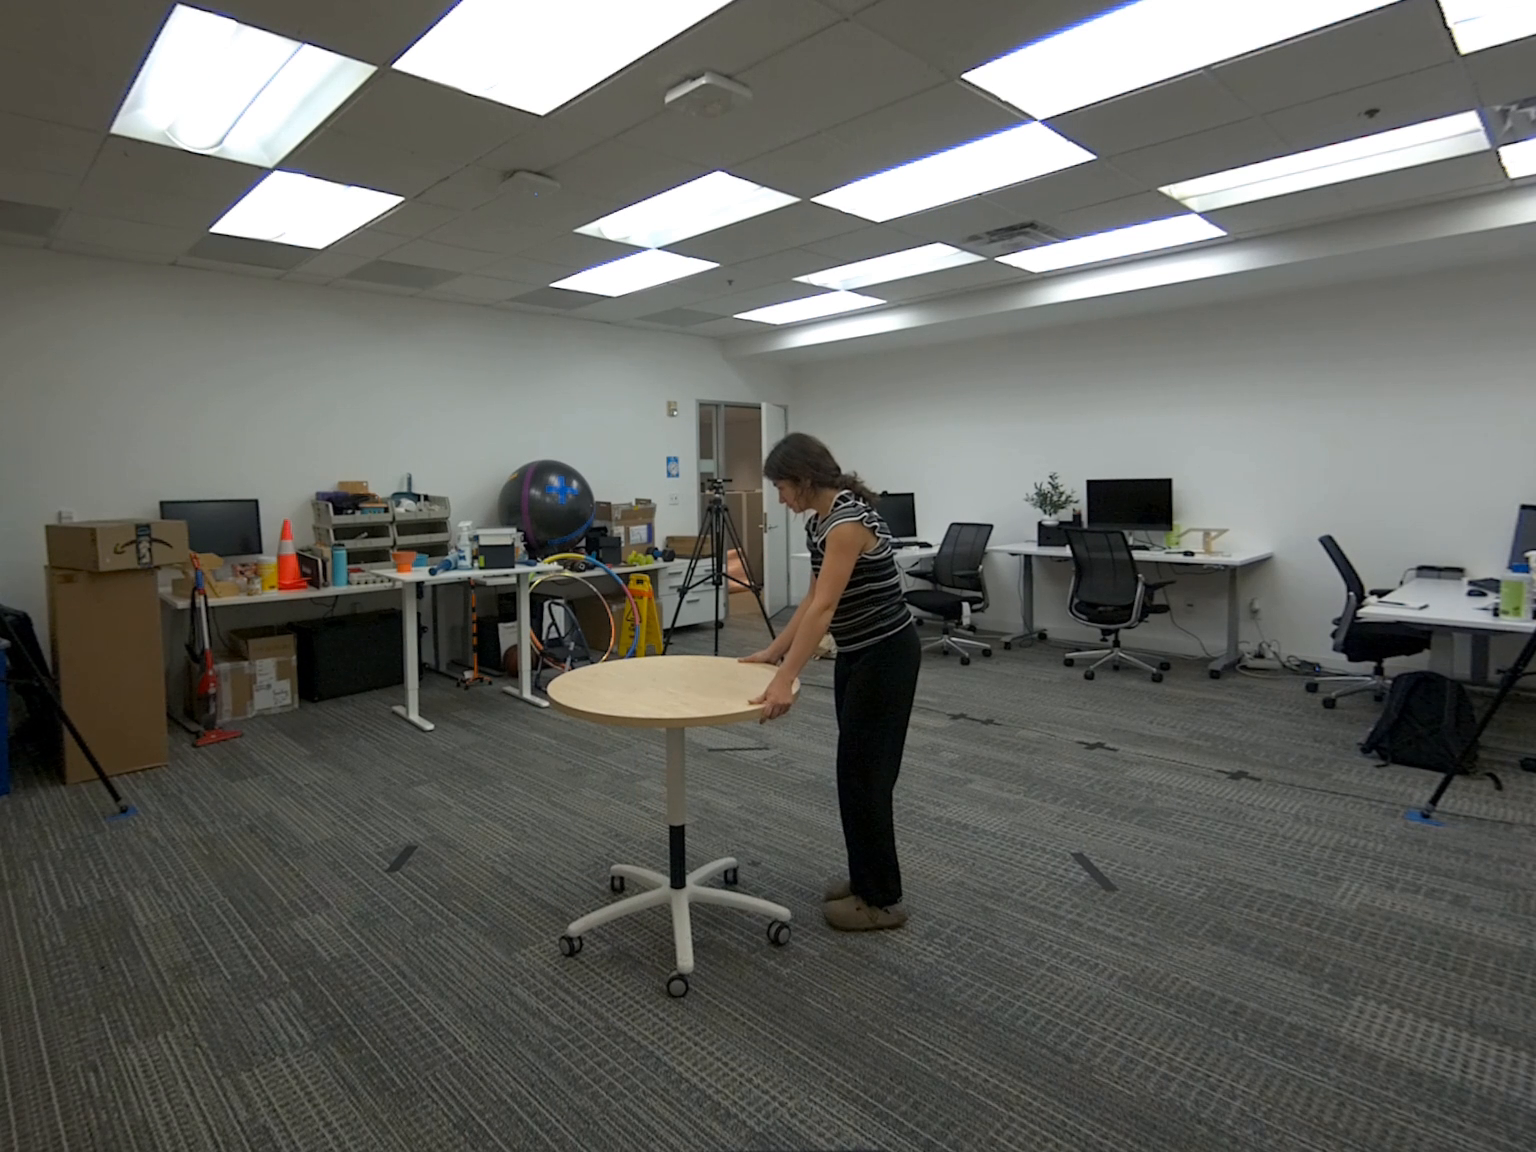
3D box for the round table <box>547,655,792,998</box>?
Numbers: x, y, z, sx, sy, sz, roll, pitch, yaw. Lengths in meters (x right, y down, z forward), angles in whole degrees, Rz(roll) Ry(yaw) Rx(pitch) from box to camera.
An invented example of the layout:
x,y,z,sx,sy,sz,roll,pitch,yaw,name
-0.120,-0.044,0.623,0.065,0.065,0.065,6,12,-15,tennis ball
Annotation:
x,y,z,sx,sy,sz,roll,pitch,yaw,name
-0.284,0.715,2.640,0.763,0.790,0.768,0,5,-2,round table
